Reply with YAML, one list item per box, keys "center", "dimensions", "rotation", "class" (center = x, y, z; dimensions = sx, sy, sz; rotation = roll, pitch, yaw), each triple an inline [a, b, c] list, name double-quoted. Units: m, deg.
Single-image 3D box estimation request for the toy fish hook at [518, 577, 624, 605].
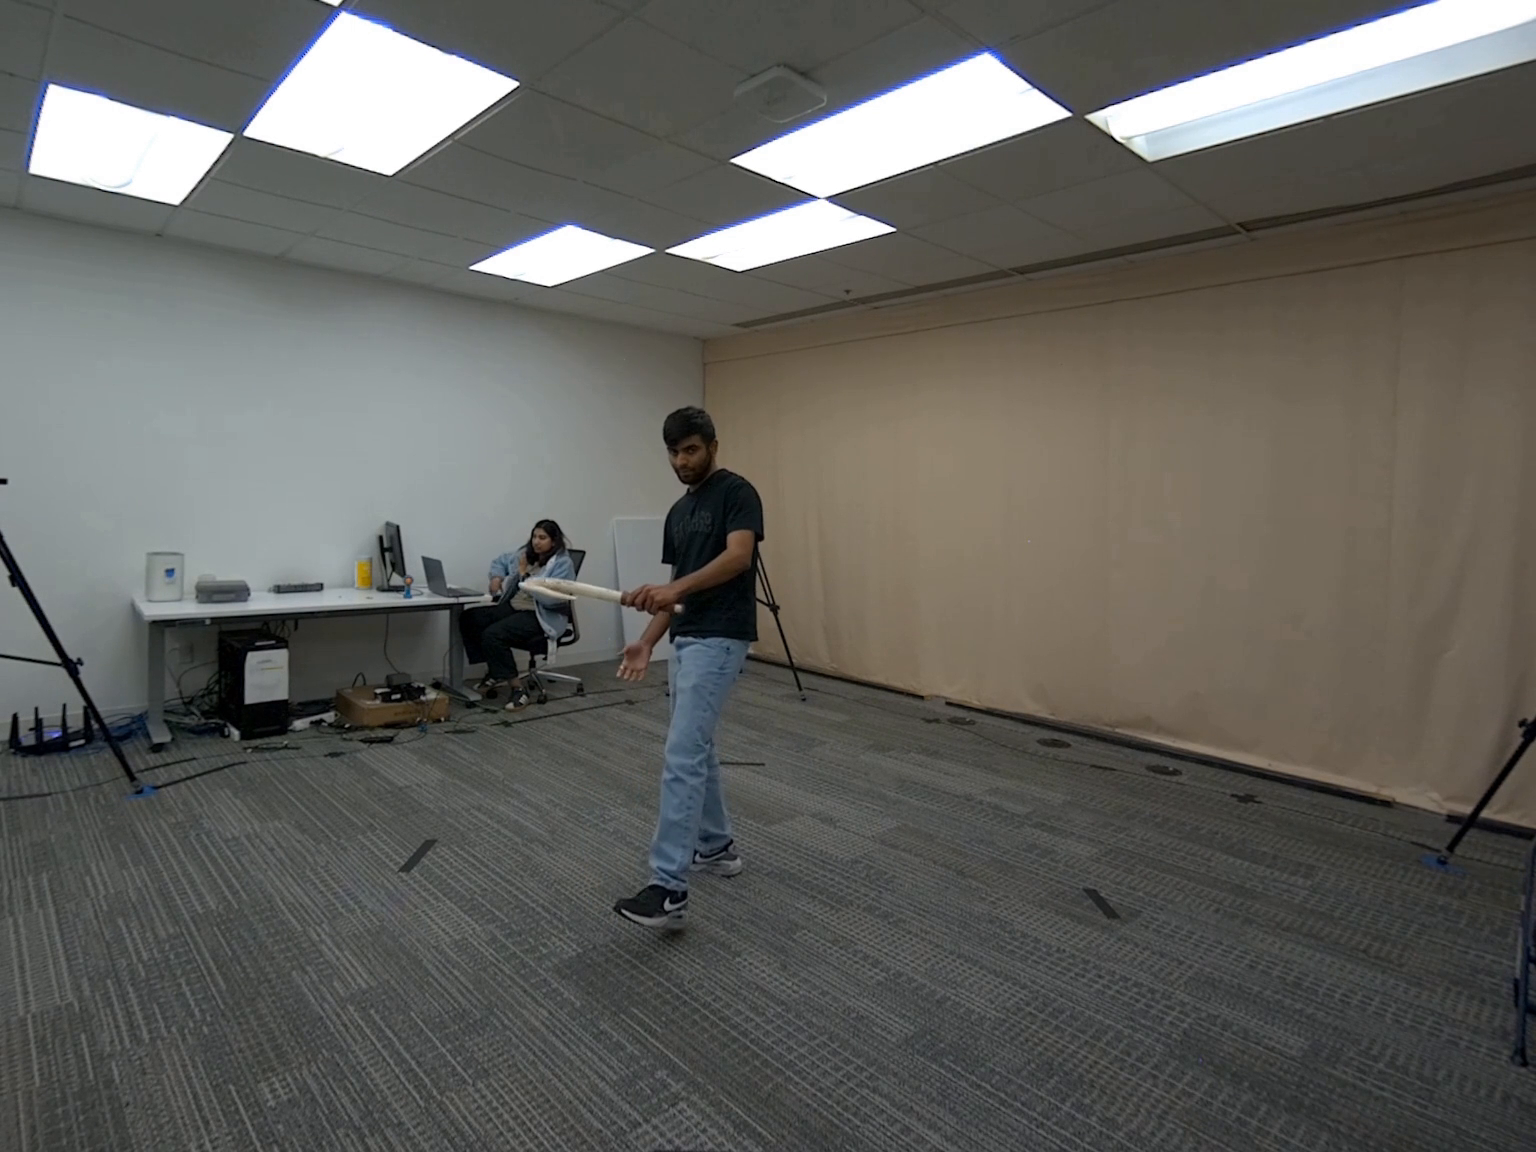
- center: [-0.611, 0.084, 2.553]
  dimensions: [0.507, 0.048, 0.225]
  rotation: [5, 10, 2]
  class: "toy fish hook"
